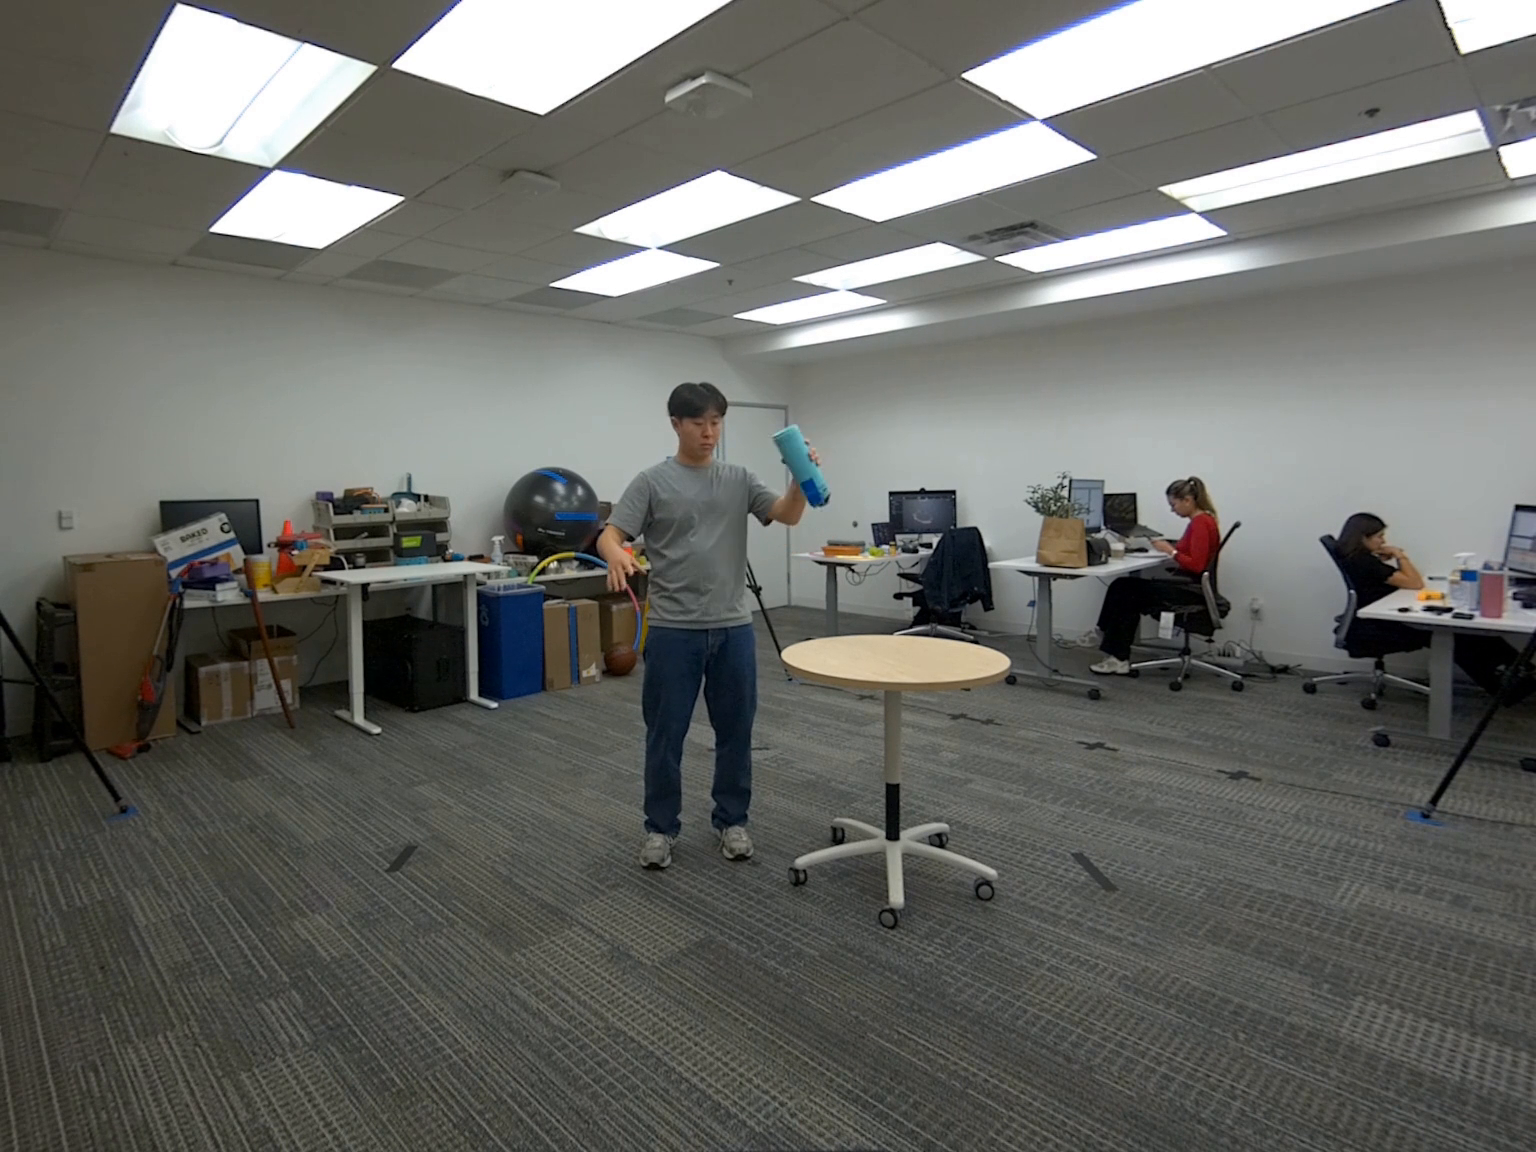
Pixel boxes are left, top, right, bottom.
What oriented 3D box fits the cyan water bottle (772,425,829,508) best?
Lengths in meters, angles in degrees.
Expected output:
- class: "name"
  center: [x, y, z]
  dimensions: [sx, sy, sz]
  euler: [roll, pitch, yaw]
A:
- class: "cyan water bottle"
  center: [0.109, -0.340, 2.809]
  dimensions: [0.092, 0.280, 0.093]
  euler: [-26, 10, 4]
